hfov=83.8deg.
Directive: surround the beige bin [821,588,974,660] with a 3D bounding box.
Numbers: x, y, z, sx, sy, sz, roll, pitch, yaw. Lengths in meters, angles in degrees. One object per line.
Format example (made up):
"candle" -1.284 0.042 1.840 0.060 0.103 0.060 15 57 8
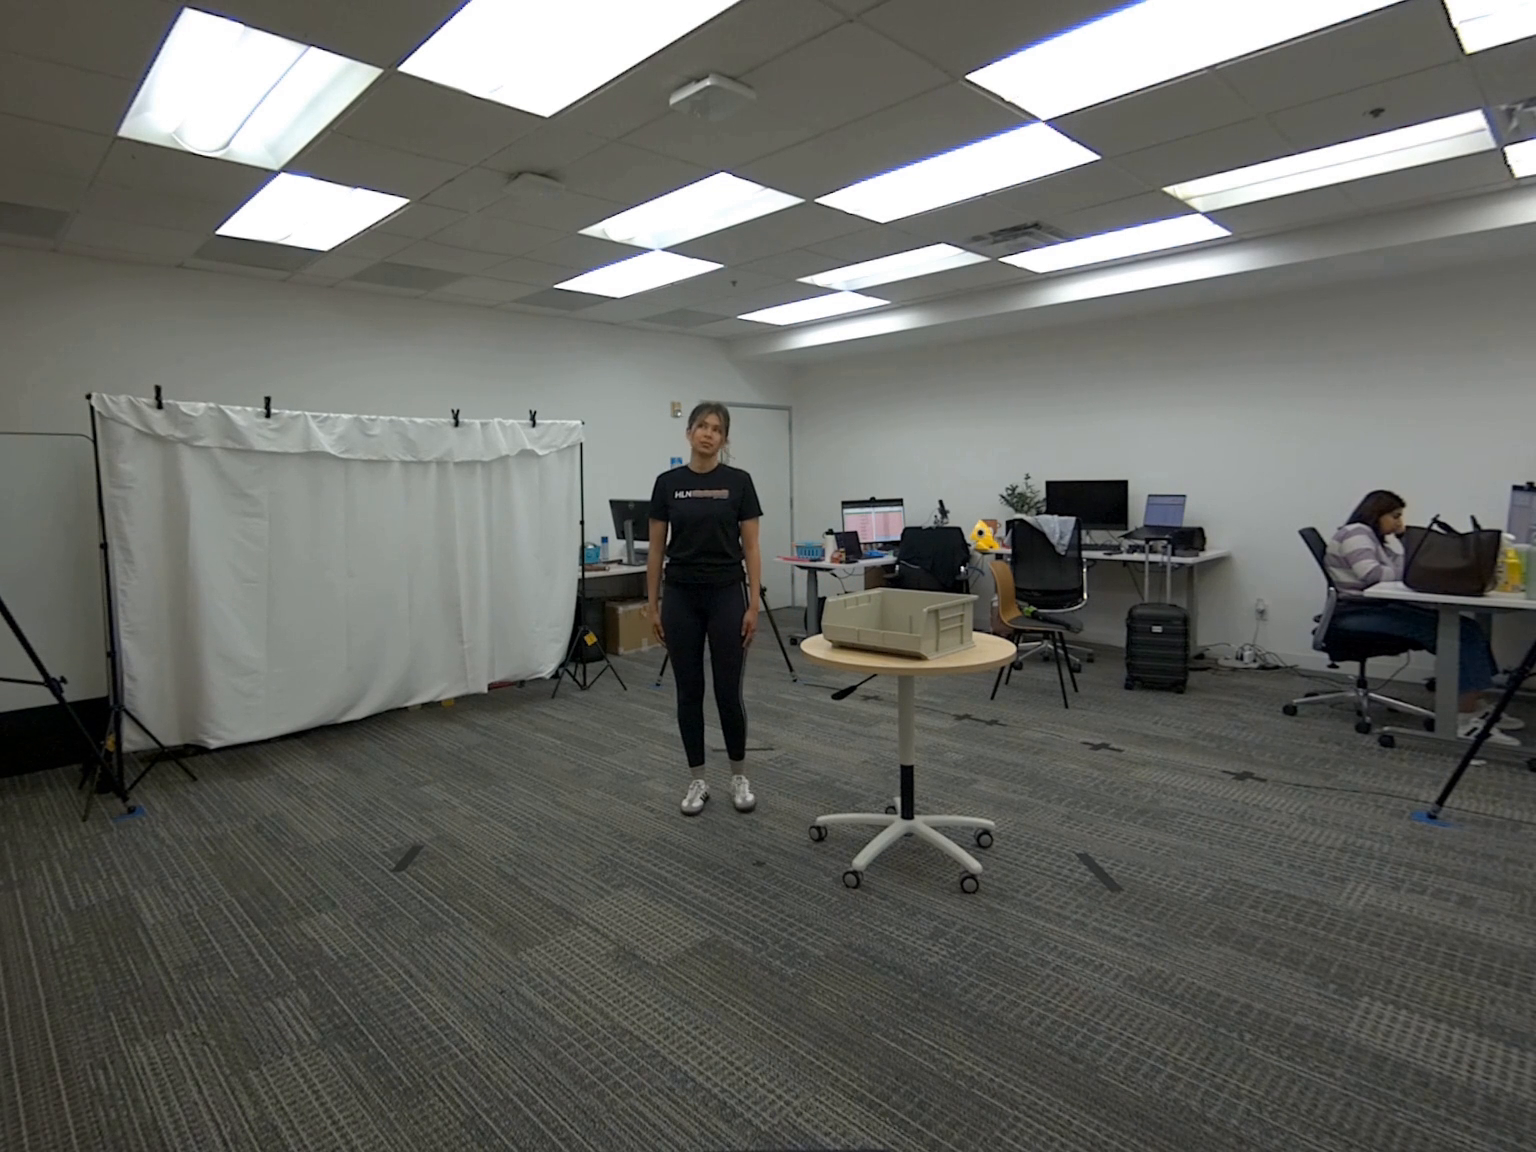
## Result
"beige bin" 0.474 0.170 3.071 0.435 0.188 0.367 3 6 44
